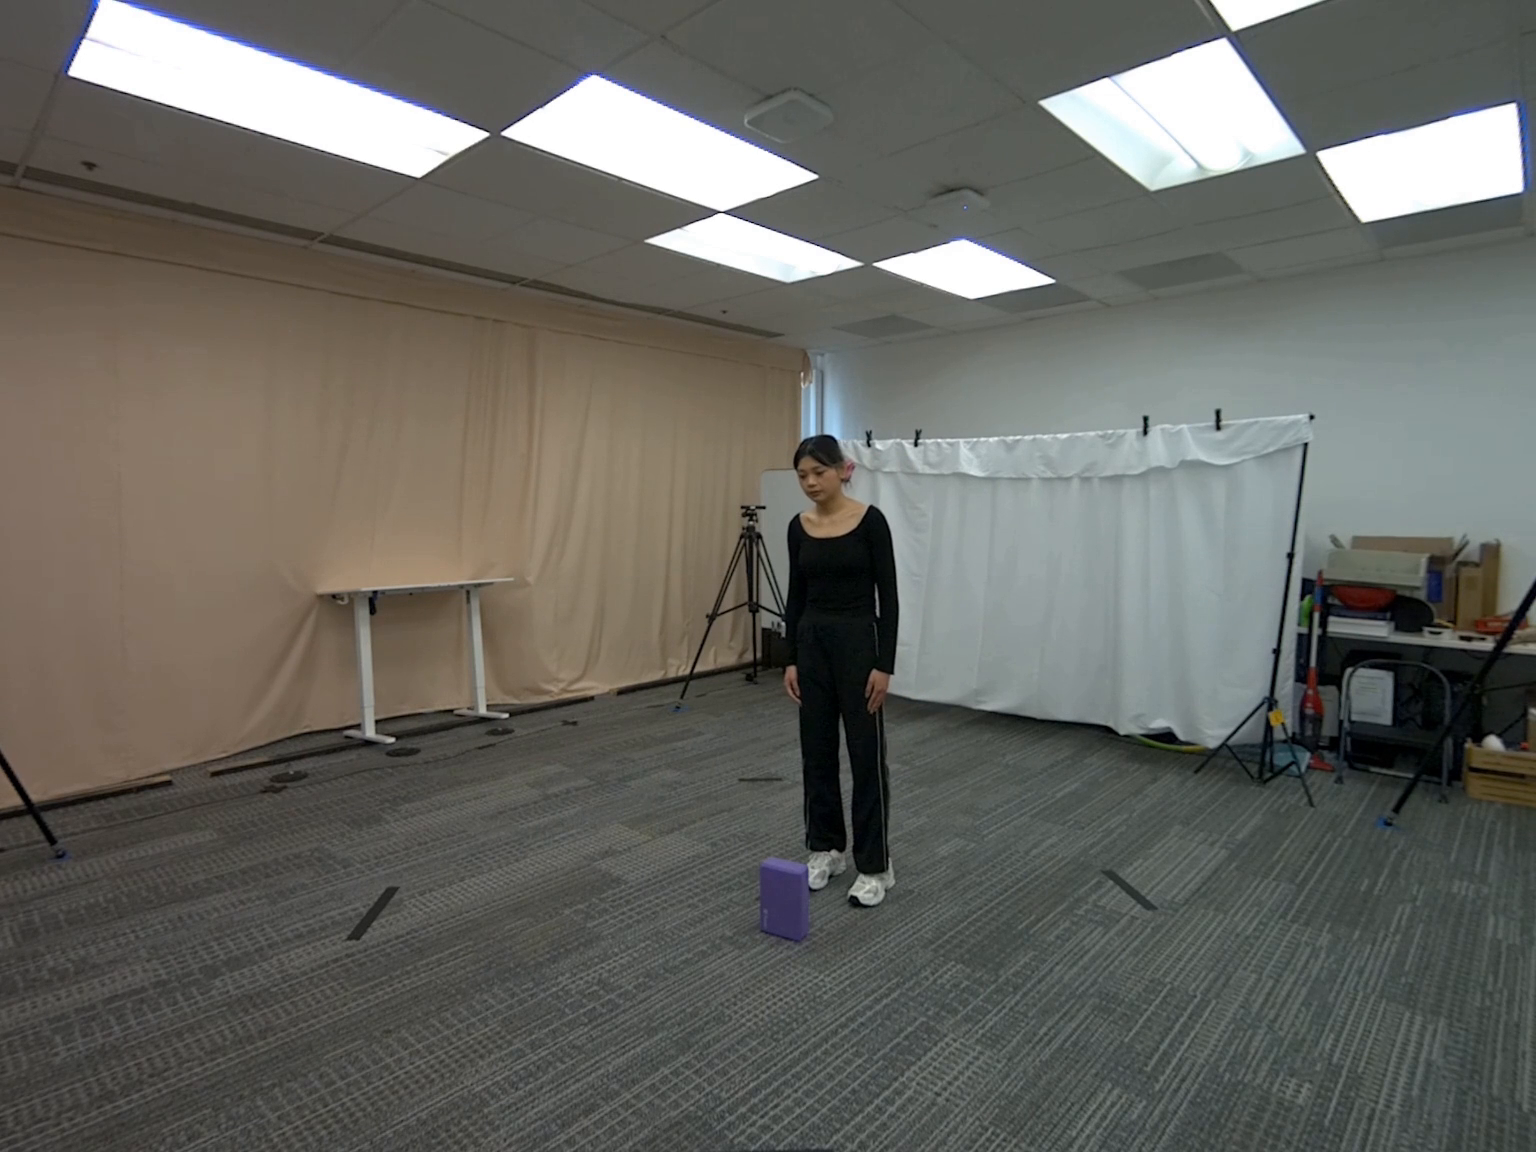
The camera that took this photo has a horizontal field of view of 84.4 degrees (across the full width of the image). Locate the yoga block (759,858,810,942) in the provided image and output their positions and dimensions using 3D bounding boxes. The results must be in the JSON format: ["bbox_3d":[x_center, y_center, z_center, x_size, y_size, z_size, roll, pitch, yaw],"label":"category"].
[{"bbox_3d":[0.058,1.049,2.737,0.153,0.229,0.074,2,4,28],"label":"yoga block"}]
